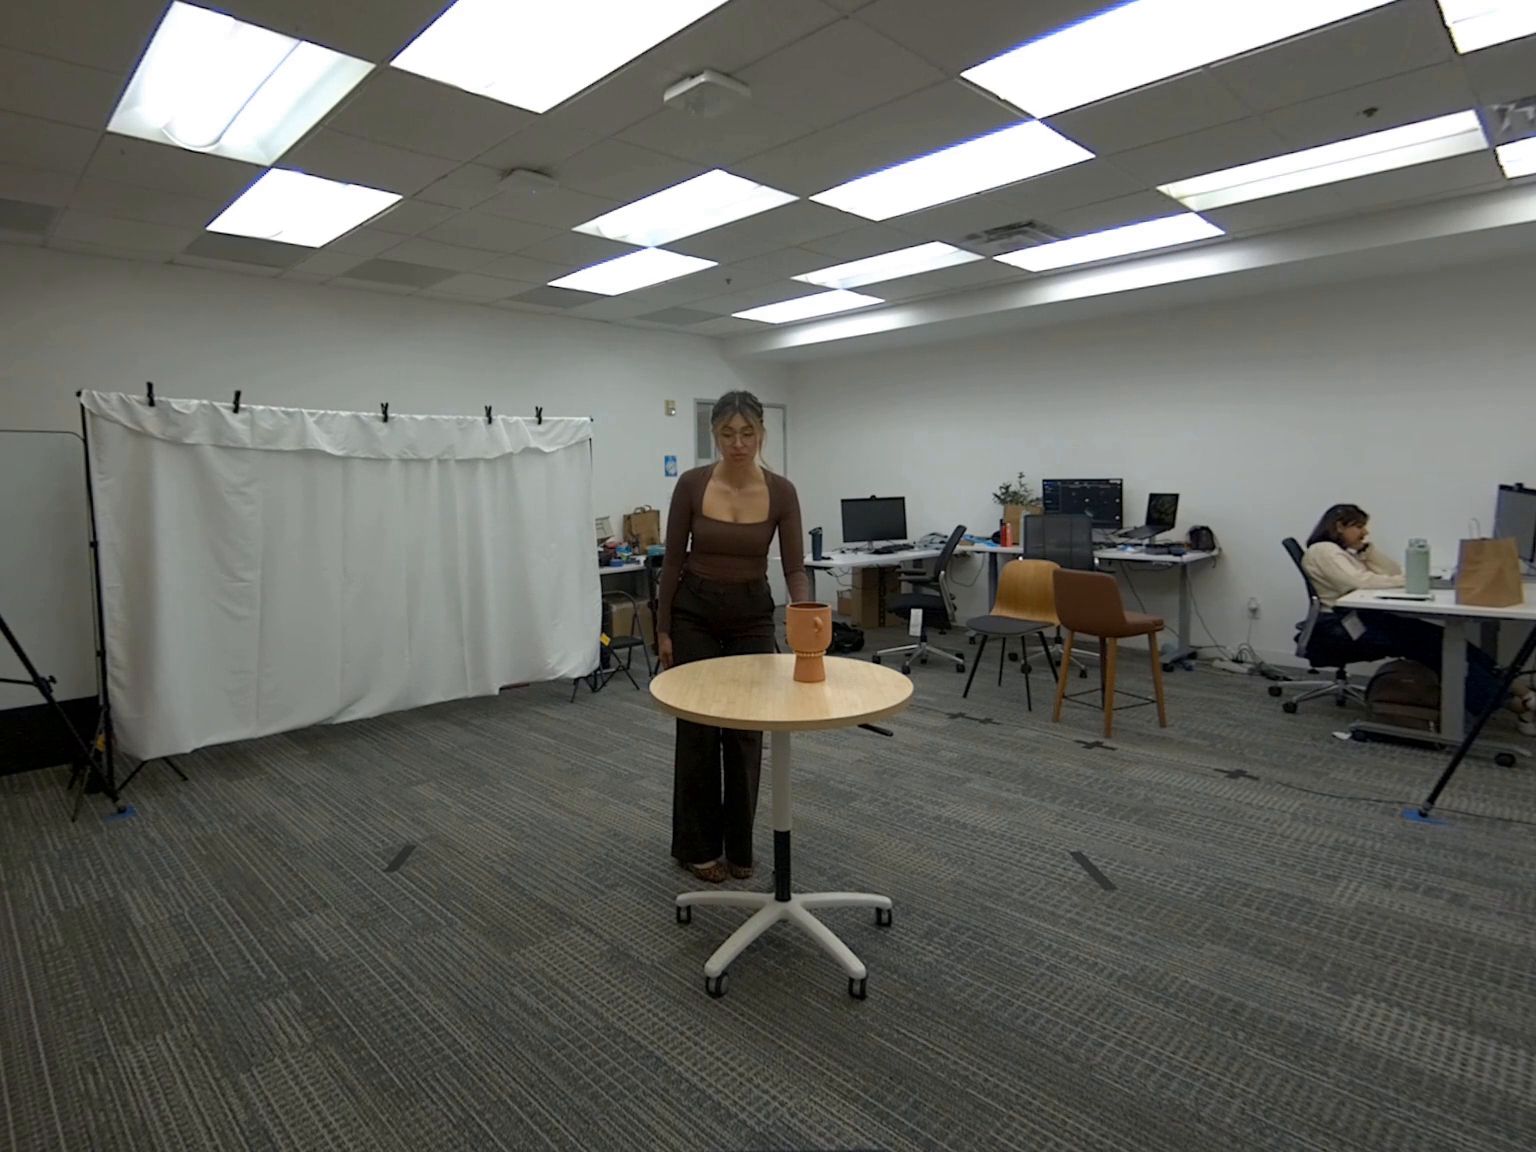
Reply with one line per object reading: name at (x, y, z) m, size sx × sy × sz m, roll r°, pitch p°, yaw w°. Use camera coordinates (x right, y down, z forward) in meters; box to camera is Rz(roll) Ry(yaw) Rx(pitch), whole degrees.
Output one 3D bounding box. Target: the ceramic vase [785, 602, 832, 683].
ceramic vase at (0.126, 0.198, 2.539) m, size 0.137 × 0.219 × 0.156 m, roll 1°, pitch 5°, yaw 21°
